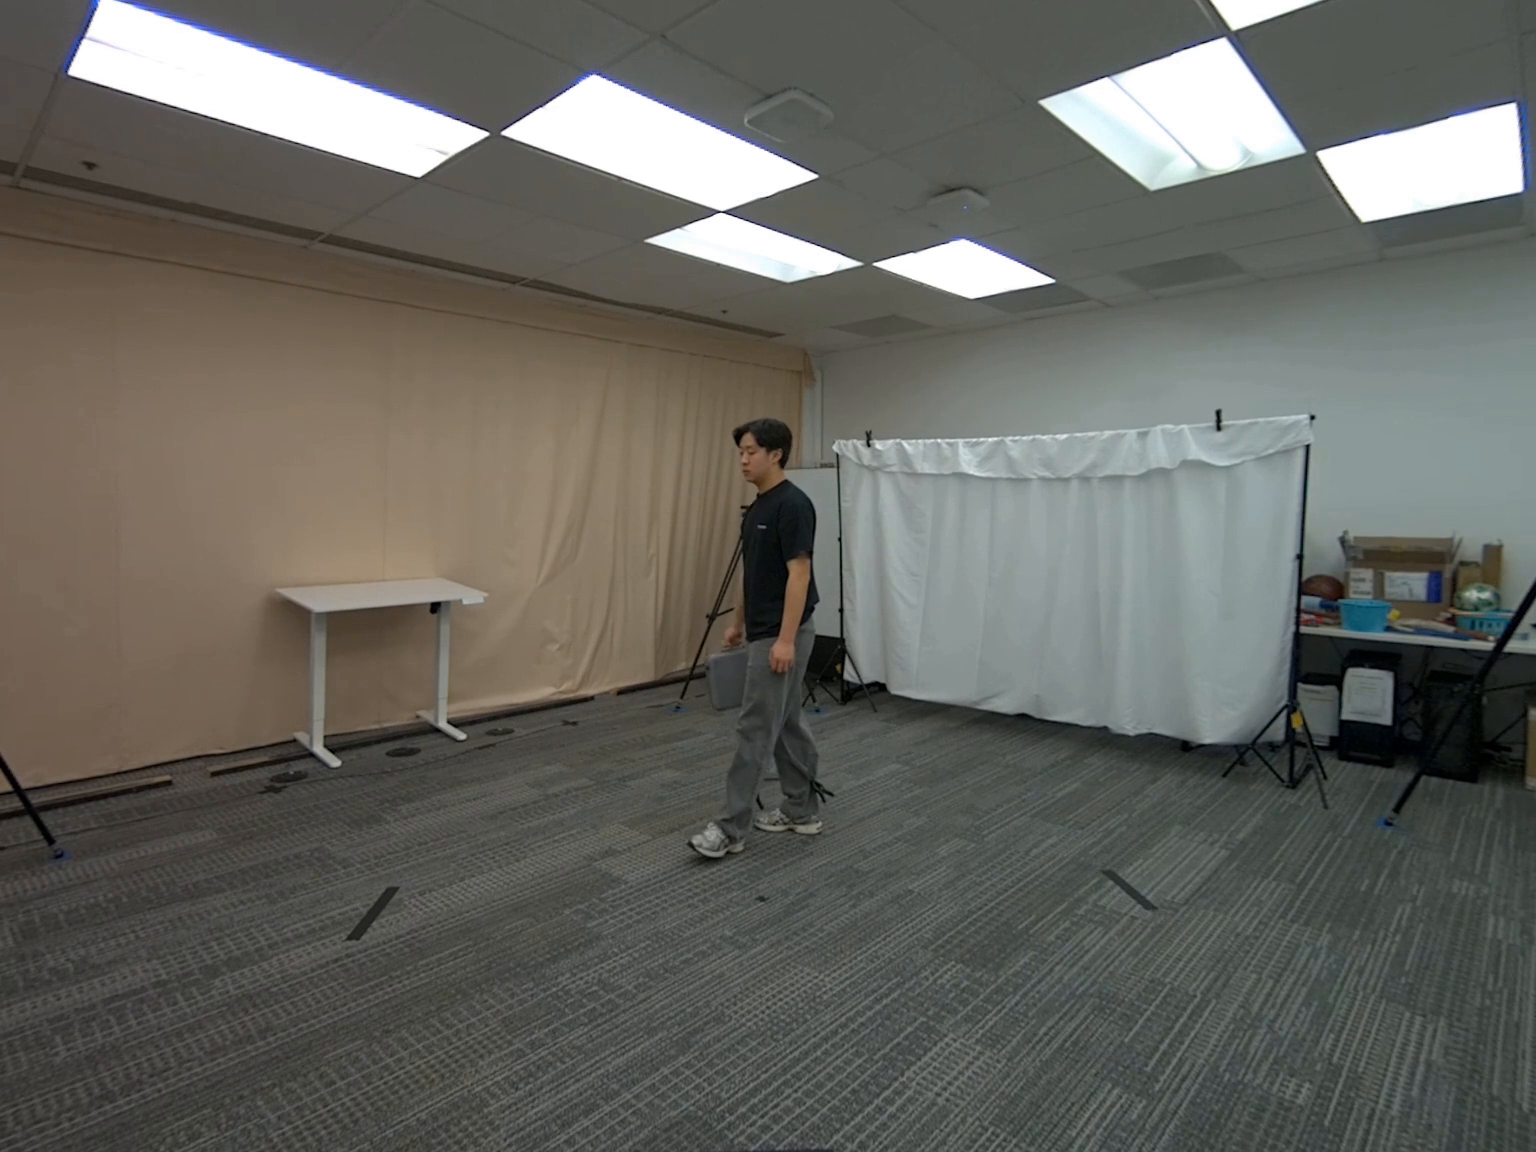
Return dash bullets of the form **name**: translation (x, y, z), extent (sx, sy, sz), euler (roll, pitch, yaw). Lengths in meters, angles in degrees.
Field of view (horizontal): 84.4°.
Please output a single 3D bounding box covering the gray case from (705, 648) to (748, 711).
- **gray case**: translation (-0.138, 0.444, 3.783), extent (0.259, 0.286, 0.105), euler (-7, 3, -14)
